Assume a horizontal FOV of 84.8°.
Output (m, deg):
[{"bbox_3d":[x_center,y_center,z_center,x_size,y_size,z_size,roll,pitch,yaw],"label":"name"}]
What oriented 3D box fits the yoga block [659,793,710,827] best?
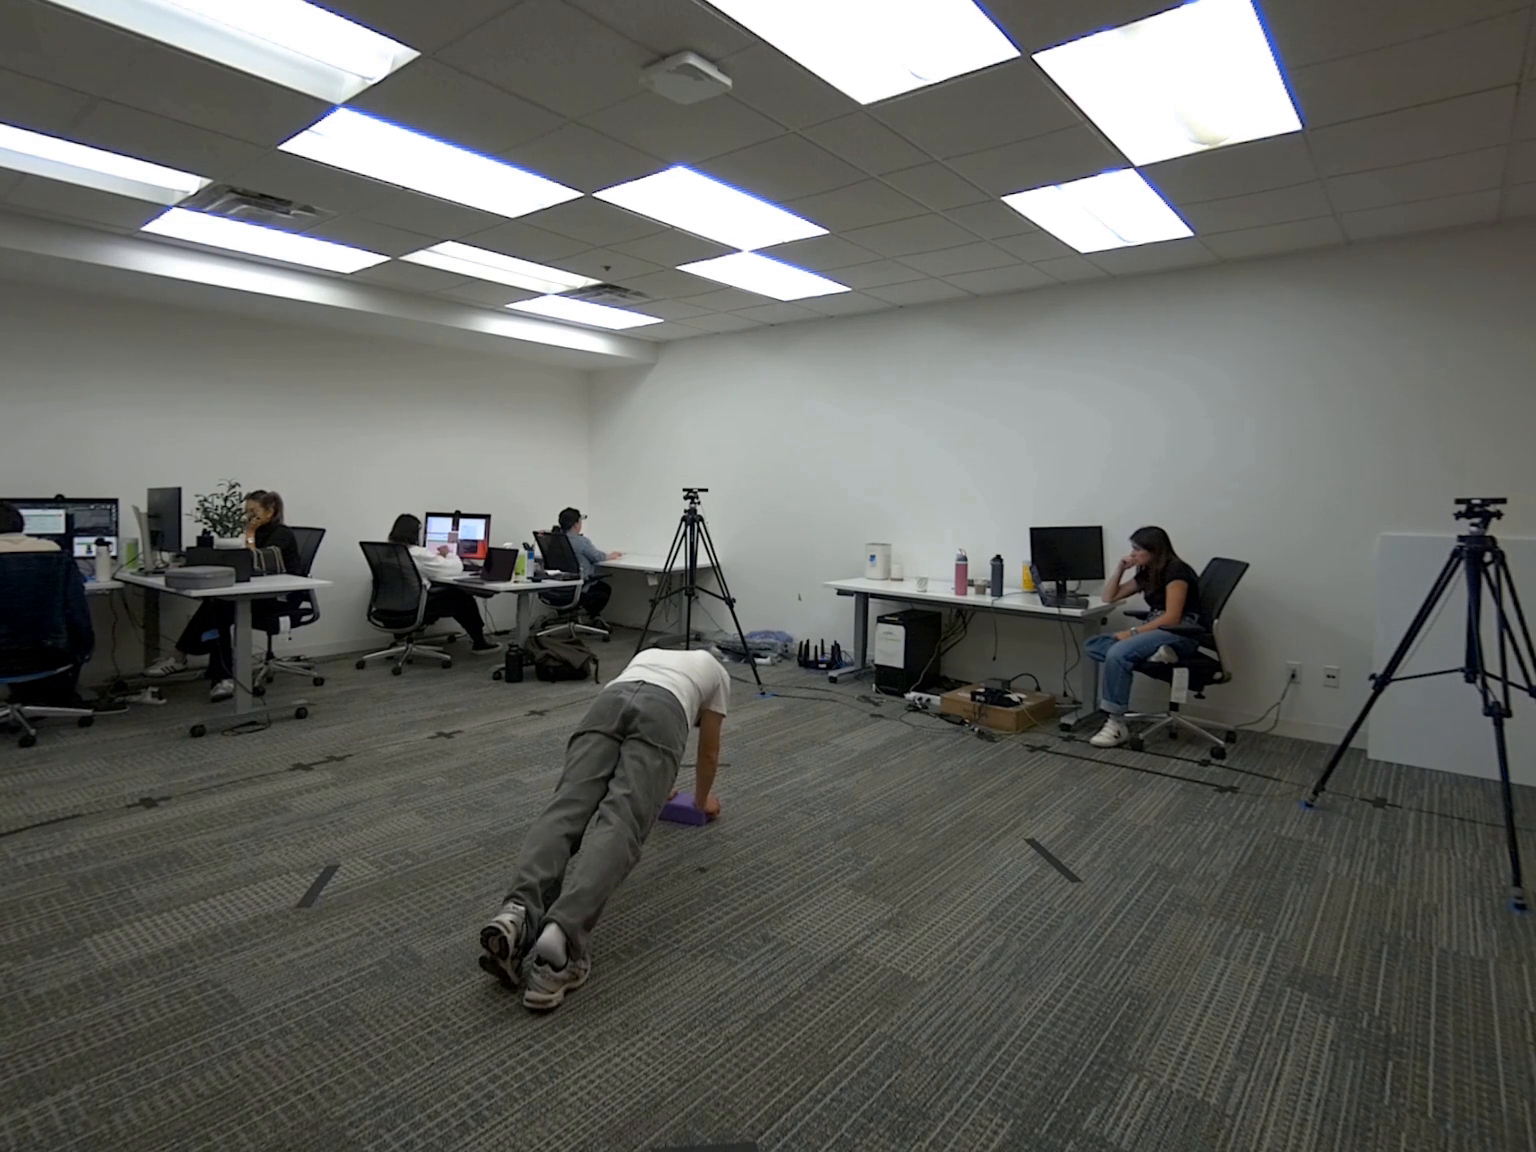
[{"bbox_3d":[-0.353,0.980,3.615,0.234,0.076,0.146,1,3,22],"label":"yoga block"}]
